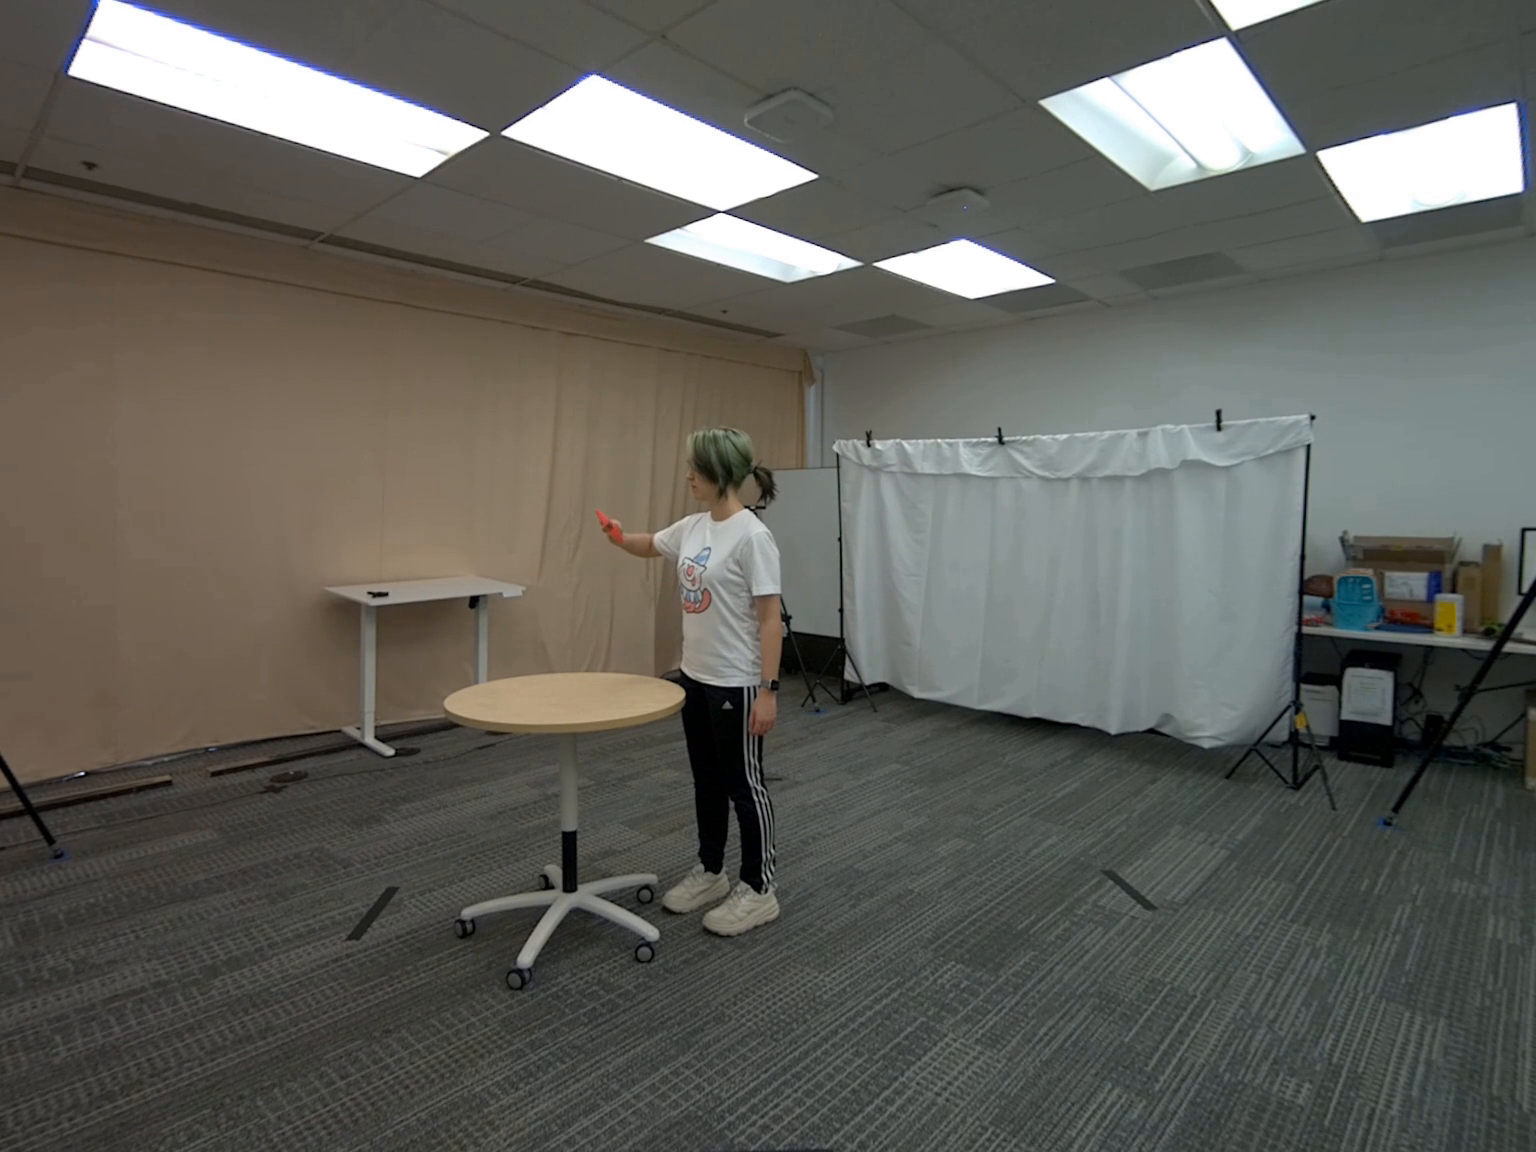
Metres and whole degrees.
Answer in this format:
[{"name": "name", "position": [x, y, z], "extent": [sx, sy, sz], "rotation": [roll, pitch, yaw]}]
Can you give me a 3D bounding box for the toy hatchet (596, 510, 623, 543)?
[{"name": "toy hatchet", "position": [-0.544, -0.186, 2.811], "extent": [0.029, 0.128, 0.278], "rotation": [-35, 25, -9]}]
